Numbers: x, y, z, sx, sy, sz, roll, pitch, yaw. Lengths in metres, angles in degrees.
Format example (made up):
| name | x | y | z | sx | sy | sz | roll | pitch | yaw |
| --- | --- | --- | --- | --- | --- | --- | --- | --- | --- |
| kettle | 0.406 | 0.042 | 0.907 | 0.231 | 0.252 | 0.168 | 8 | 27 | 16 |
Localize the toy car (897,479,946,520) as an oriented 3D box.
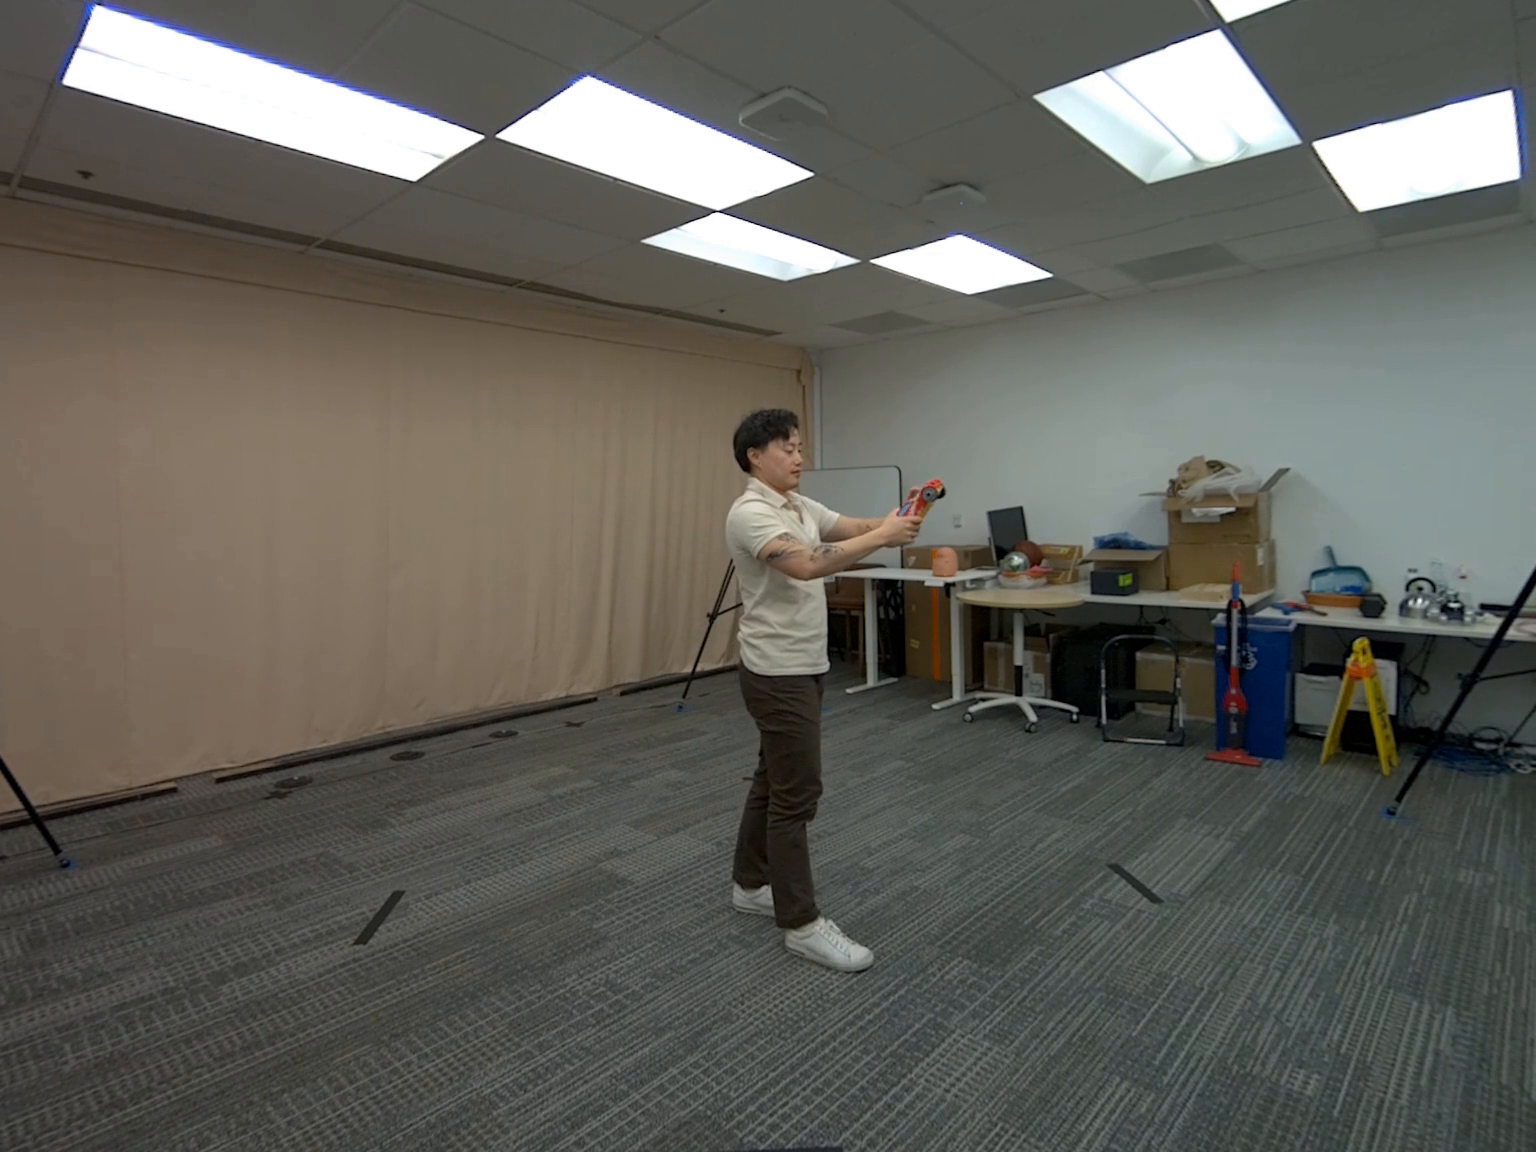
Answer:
| name | x | y | z | sx | sy | sz | roll | pitch | yaw |
| --- | --- | --- | --- | --- | --- | --- | --- | --- | --- |
| toy car | 0.427 | -0.174 | 2.486 | 0.256 | 0.084 | 0.127 | -46 | -13 | 27 |
